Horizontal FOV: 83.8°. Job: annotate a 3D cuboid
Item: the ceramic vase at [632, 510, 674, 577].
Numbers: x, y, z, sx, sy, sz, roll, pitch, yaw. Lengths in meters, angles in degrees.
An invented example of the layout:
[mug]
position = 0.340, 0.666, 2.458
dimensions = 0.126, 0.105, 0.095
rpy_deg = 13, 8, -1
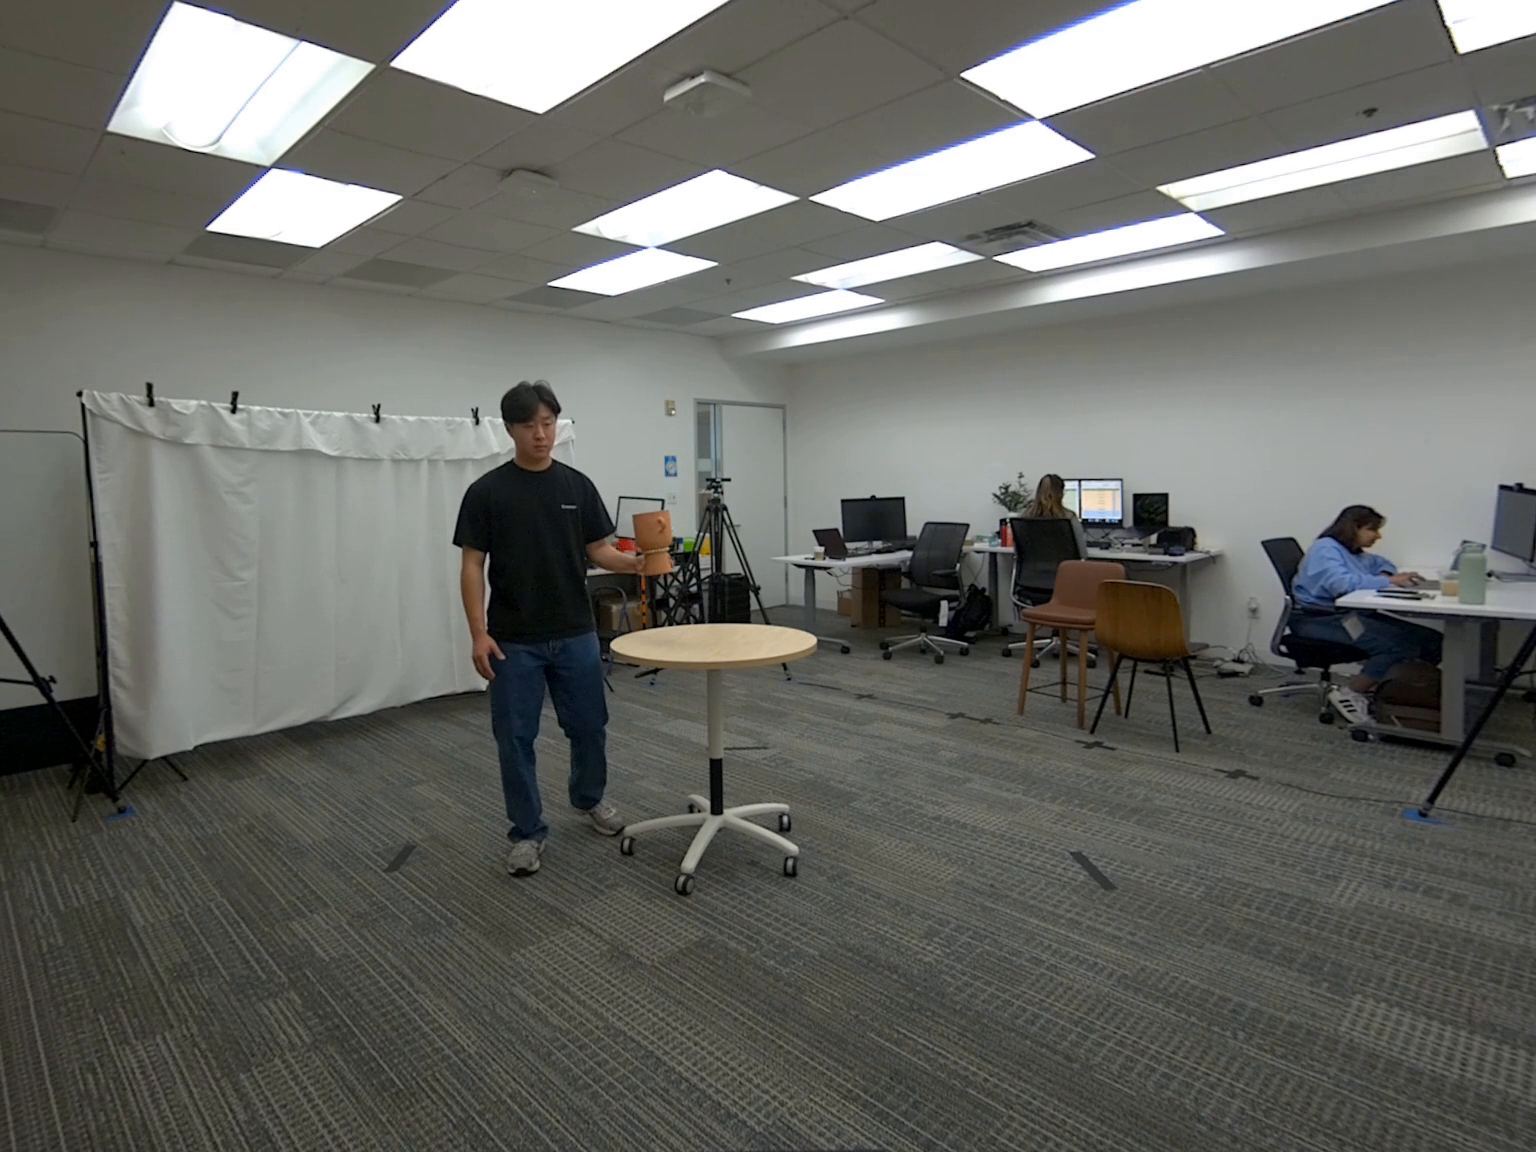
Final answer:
[ceramic vase]
position = -0.404, -0.118, 3.033
dimensions = 0.136, 0.219, 0.158
rpy_deg = -7, 4, 11
